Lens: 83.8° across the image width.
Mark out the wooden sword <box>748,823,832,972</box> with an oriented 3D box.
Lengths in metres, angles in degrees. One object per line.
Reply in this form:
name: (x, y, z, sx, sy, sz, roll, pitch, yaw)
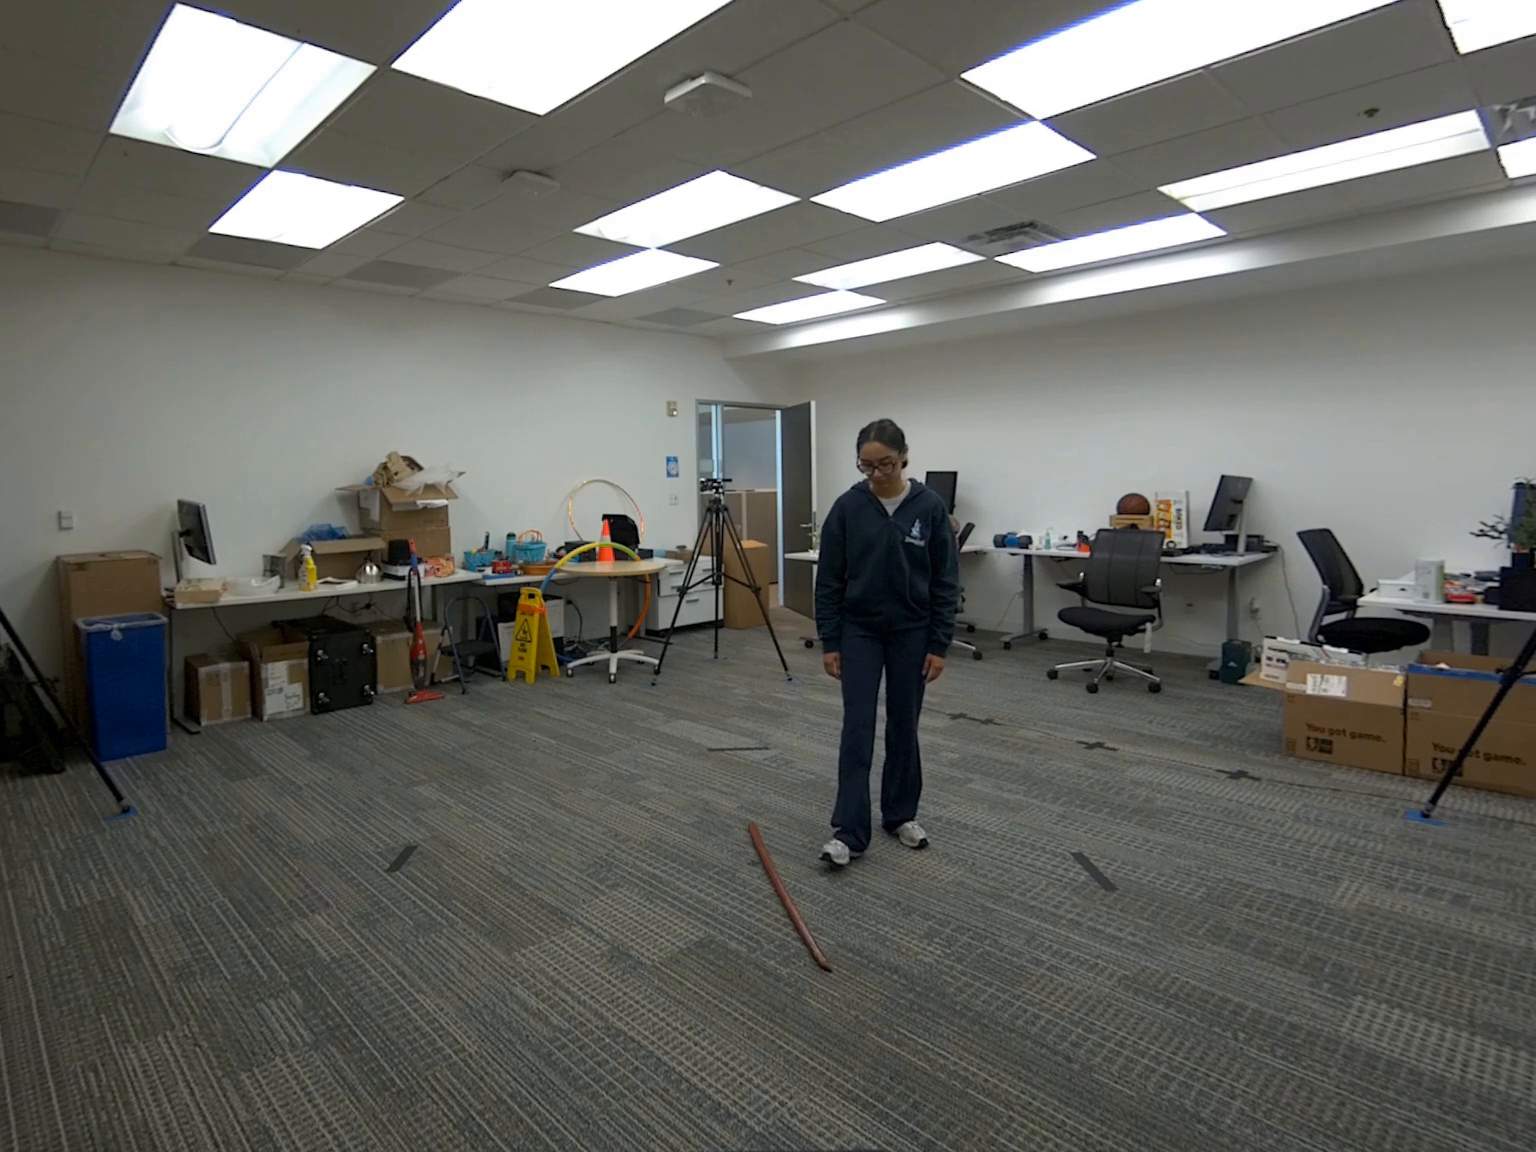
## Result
wooden sword: (0.041, 1.044, 2.916, 0.050, 0.024, 1.040, 20, 2, -13)
